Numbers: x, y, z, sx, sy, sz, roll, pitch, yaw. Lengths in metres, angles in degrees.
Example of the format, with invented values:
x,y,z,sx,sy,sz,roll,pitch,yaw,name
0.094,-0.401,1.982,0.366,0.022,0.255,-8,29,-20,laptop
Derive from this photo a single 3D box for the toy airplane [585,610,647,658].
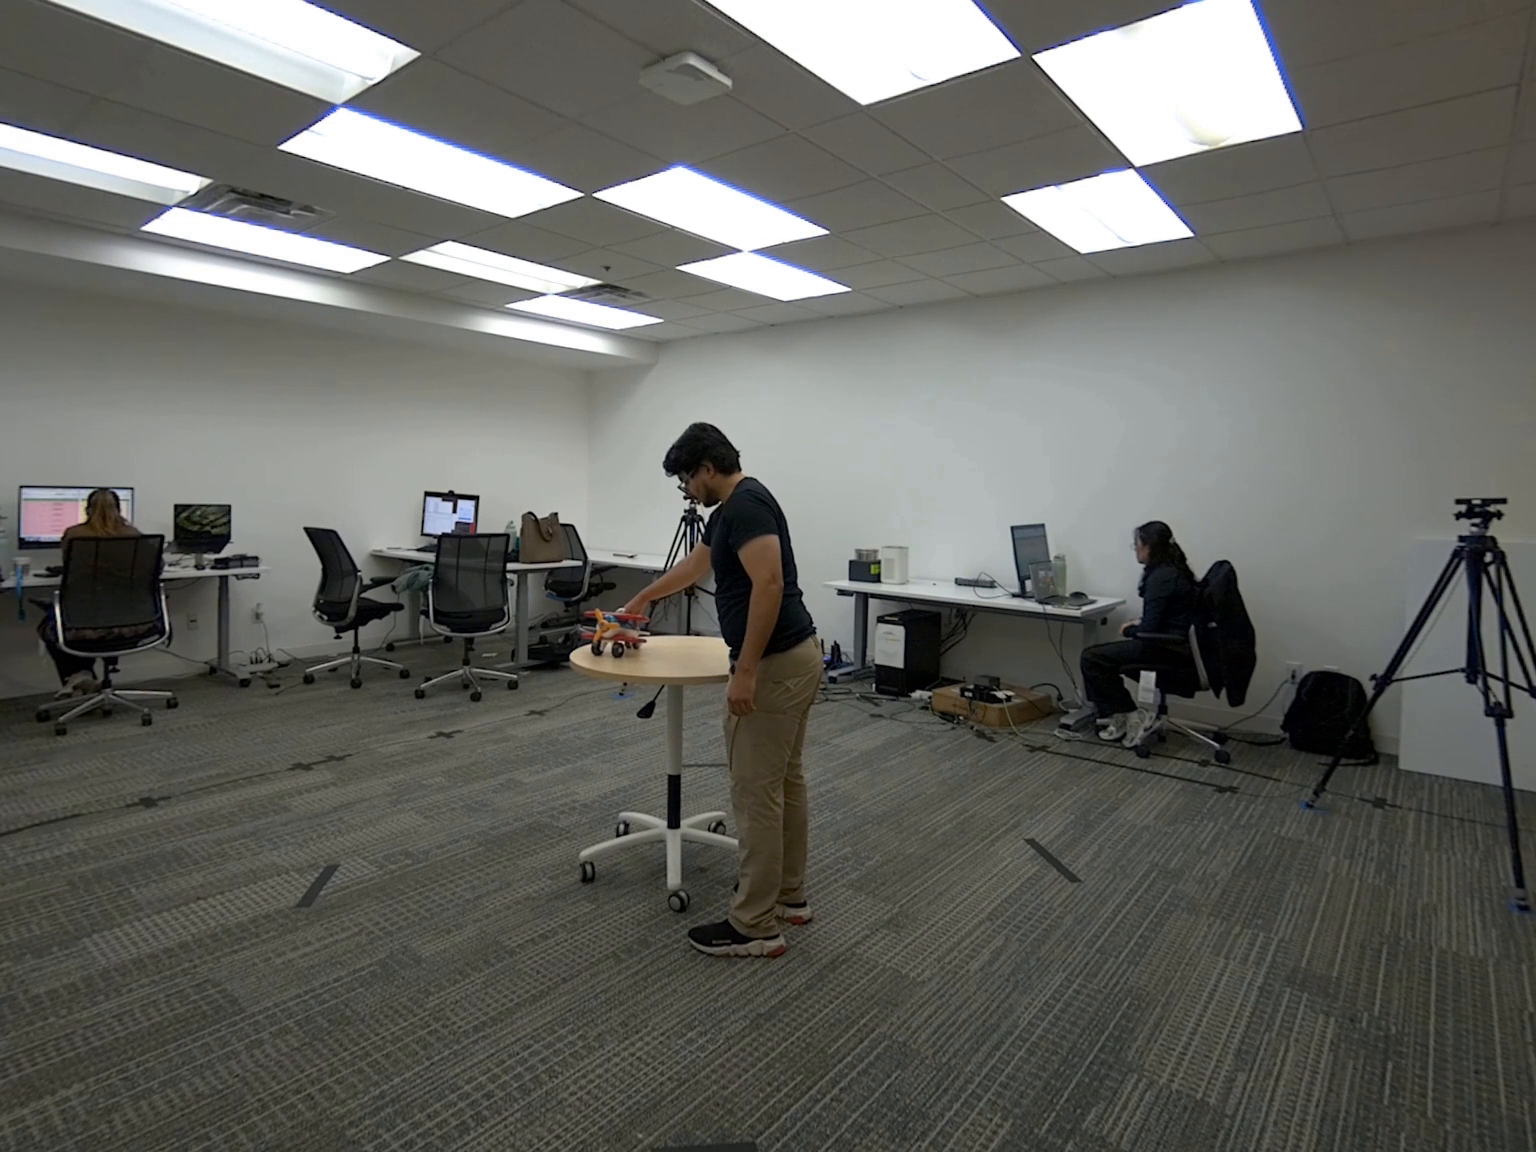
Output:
x,y,z,sx,sy,sz,roll,pitch,yaw,name
-0.576,0.202,3.133,0.249,0.156,0.262,0,6,-7,toy airplane
